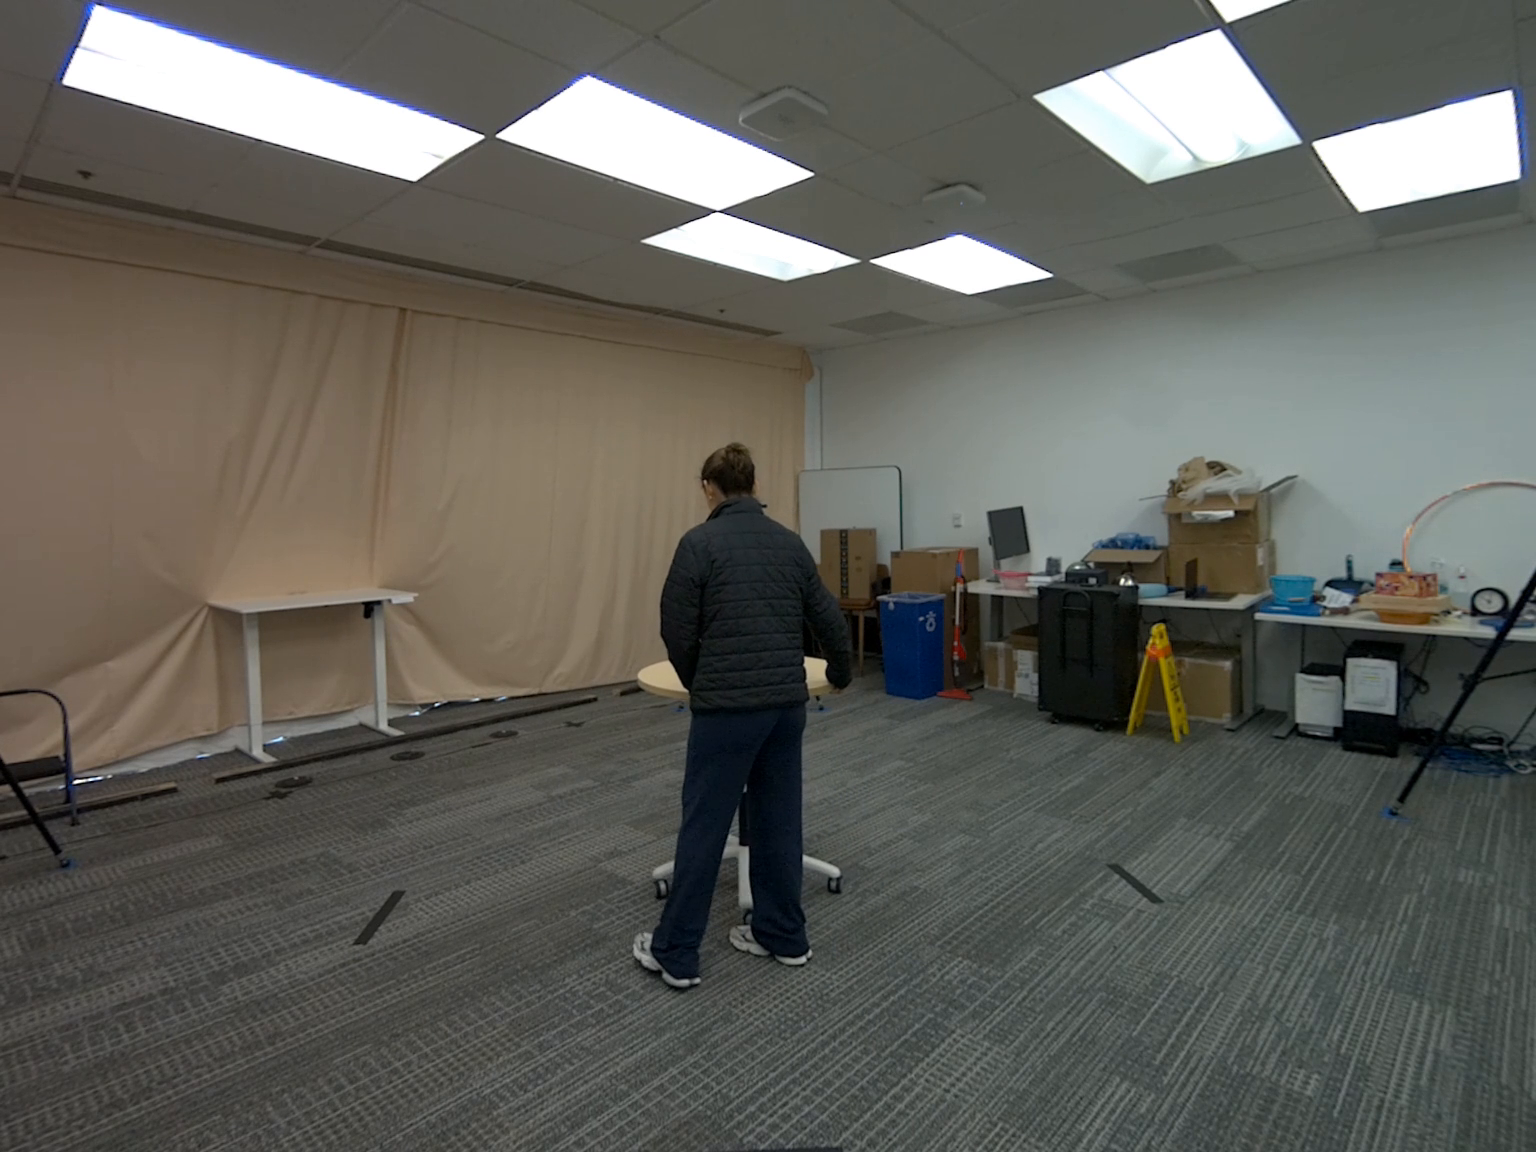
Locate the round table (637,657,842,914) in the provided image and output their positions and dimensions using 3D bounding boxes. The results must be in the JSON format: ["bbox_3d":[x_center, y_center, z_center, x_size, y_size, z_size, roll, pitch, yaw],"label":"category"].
[{"bbox_3d":[-0.053,0.735,3.105,0.784,0.784,0.788,-1,4,-2],"label":"round table"}]
